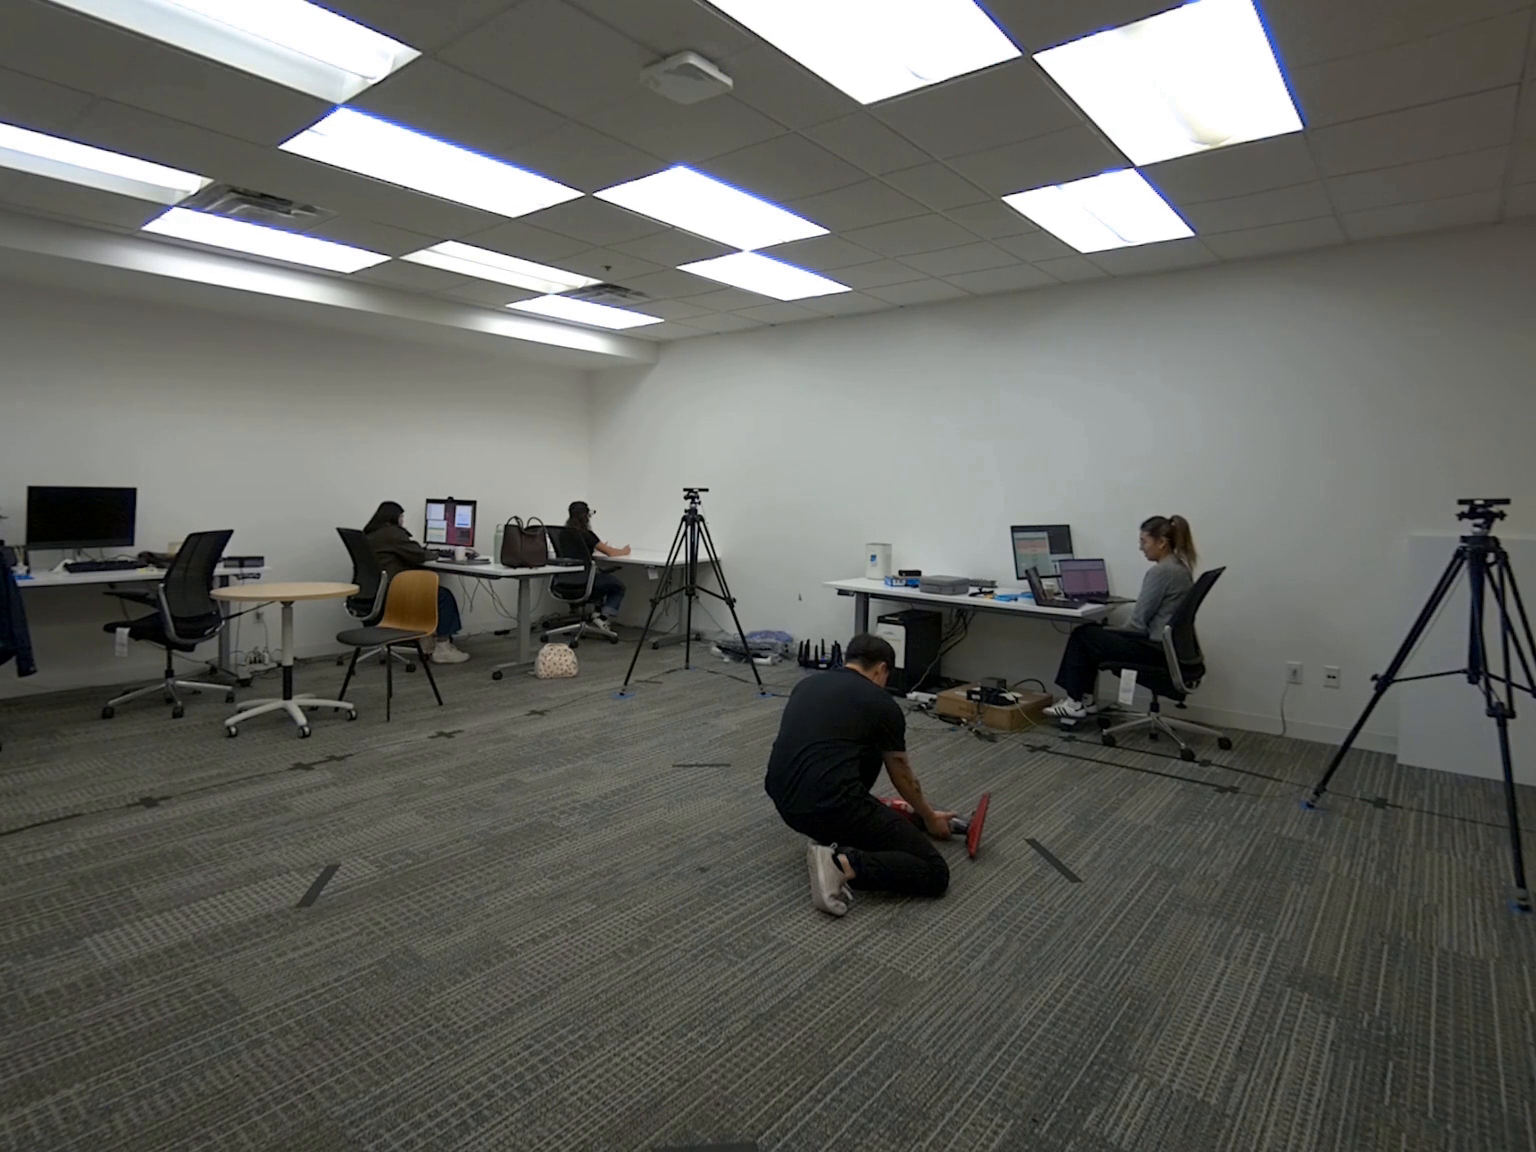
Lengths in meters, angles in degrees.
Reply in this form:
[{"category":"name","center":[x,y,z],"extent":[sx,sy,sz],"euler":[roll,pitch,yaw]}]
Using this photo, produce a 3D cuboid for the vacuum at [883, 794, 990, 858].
[{"category":"vacuum","center":[0.431,0.971,3.679],"extent":[1.082,0.255,0.138],"euler":[0,-33,44]}]
